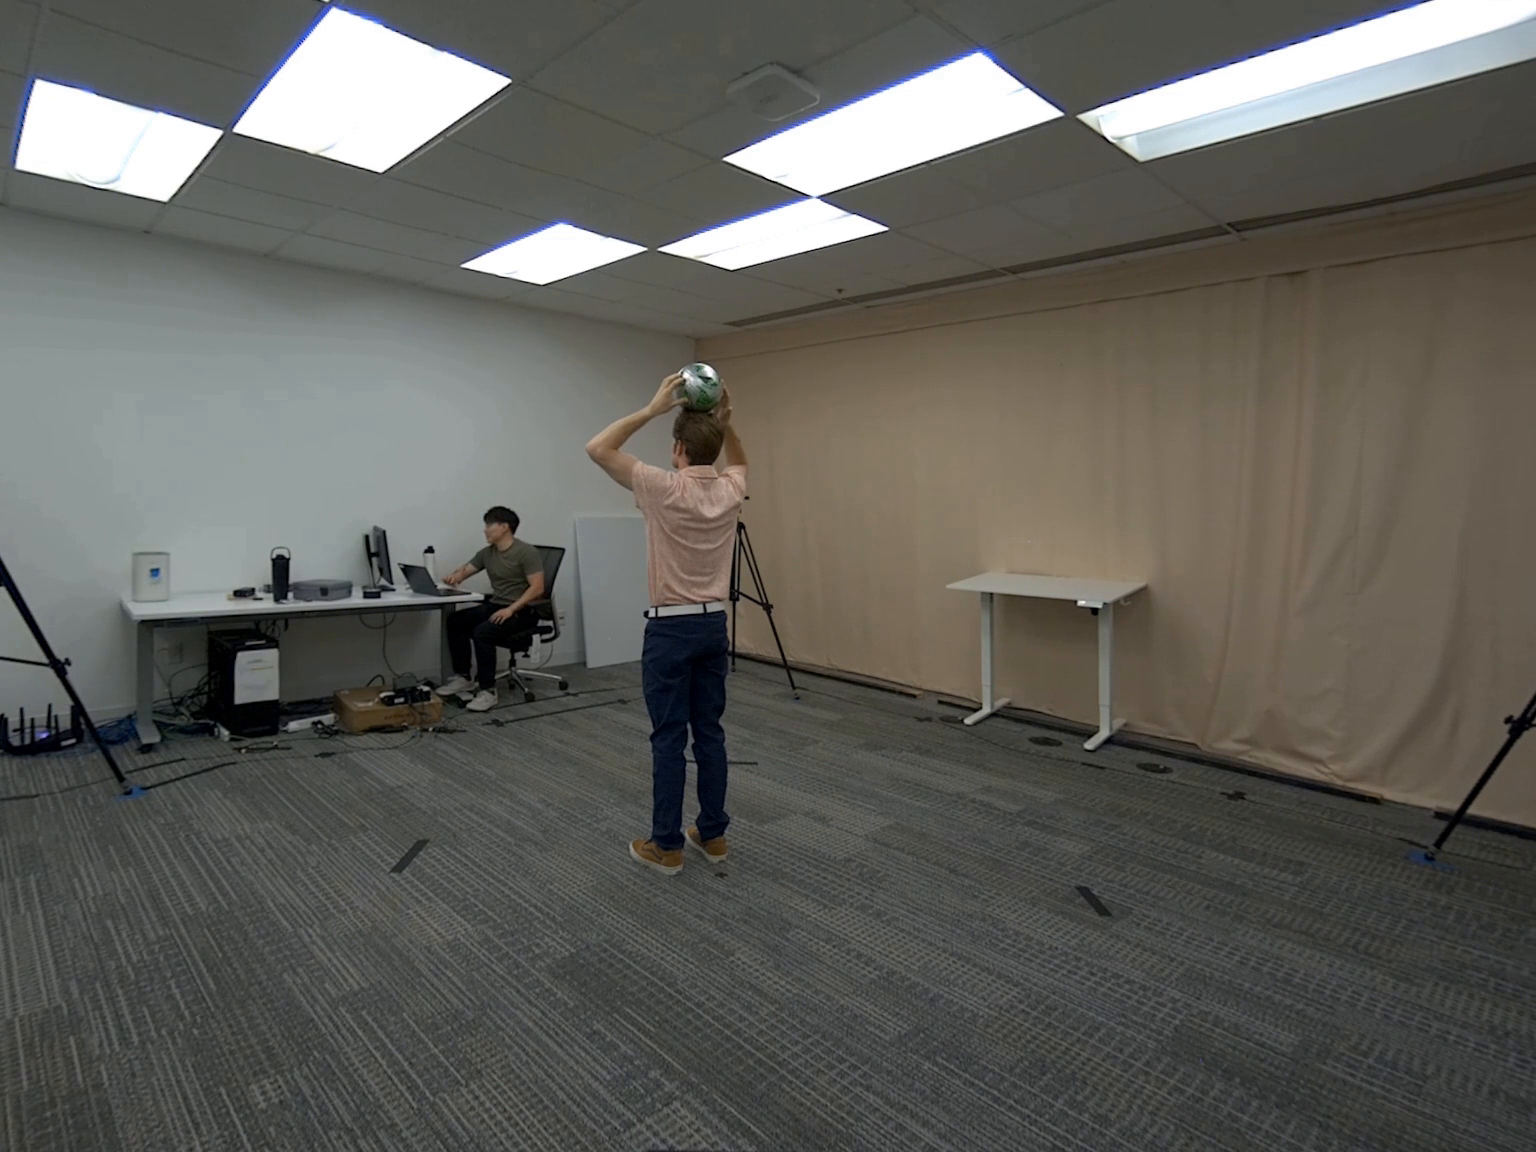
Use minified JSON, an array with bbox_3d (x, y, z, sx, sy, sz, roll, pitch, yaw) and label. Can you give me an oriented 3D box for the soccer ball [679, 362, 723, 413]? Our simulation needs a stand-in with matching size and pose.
[{"bbox_3d":[-0.273,-0.698,3.148,0.187,0.187,0.188,1,4,-1],"label":"soccer ball"}]
